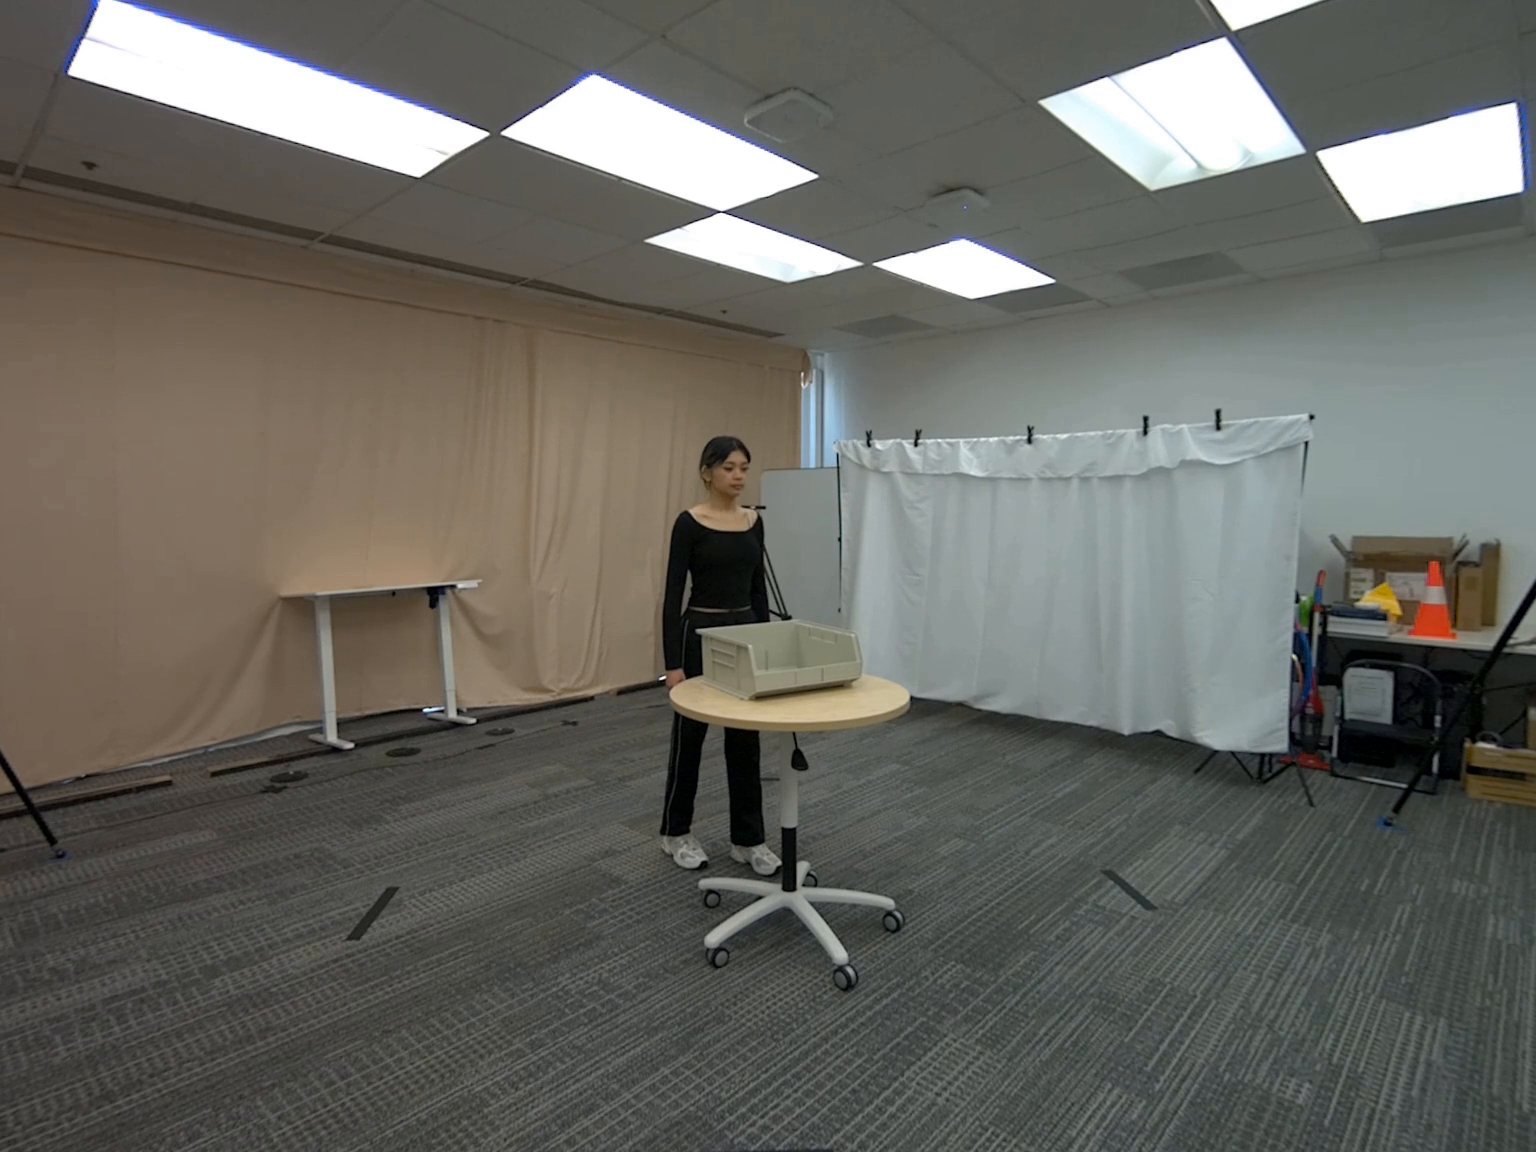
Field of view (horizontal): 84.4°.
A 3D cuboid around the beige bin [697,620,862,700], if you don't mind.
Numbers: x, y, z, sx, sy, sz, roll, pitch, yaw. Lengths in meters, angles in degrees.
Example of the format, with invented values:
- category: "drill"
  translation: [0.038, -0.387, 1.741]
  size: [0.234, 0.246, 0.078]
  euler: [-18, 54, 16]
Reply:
- category: "beige bin"
  translation: [0.041, 0.274, 2.806]
  size: [0.411, 0.188, 0.388]
  euler: [-4, 5, -31]
